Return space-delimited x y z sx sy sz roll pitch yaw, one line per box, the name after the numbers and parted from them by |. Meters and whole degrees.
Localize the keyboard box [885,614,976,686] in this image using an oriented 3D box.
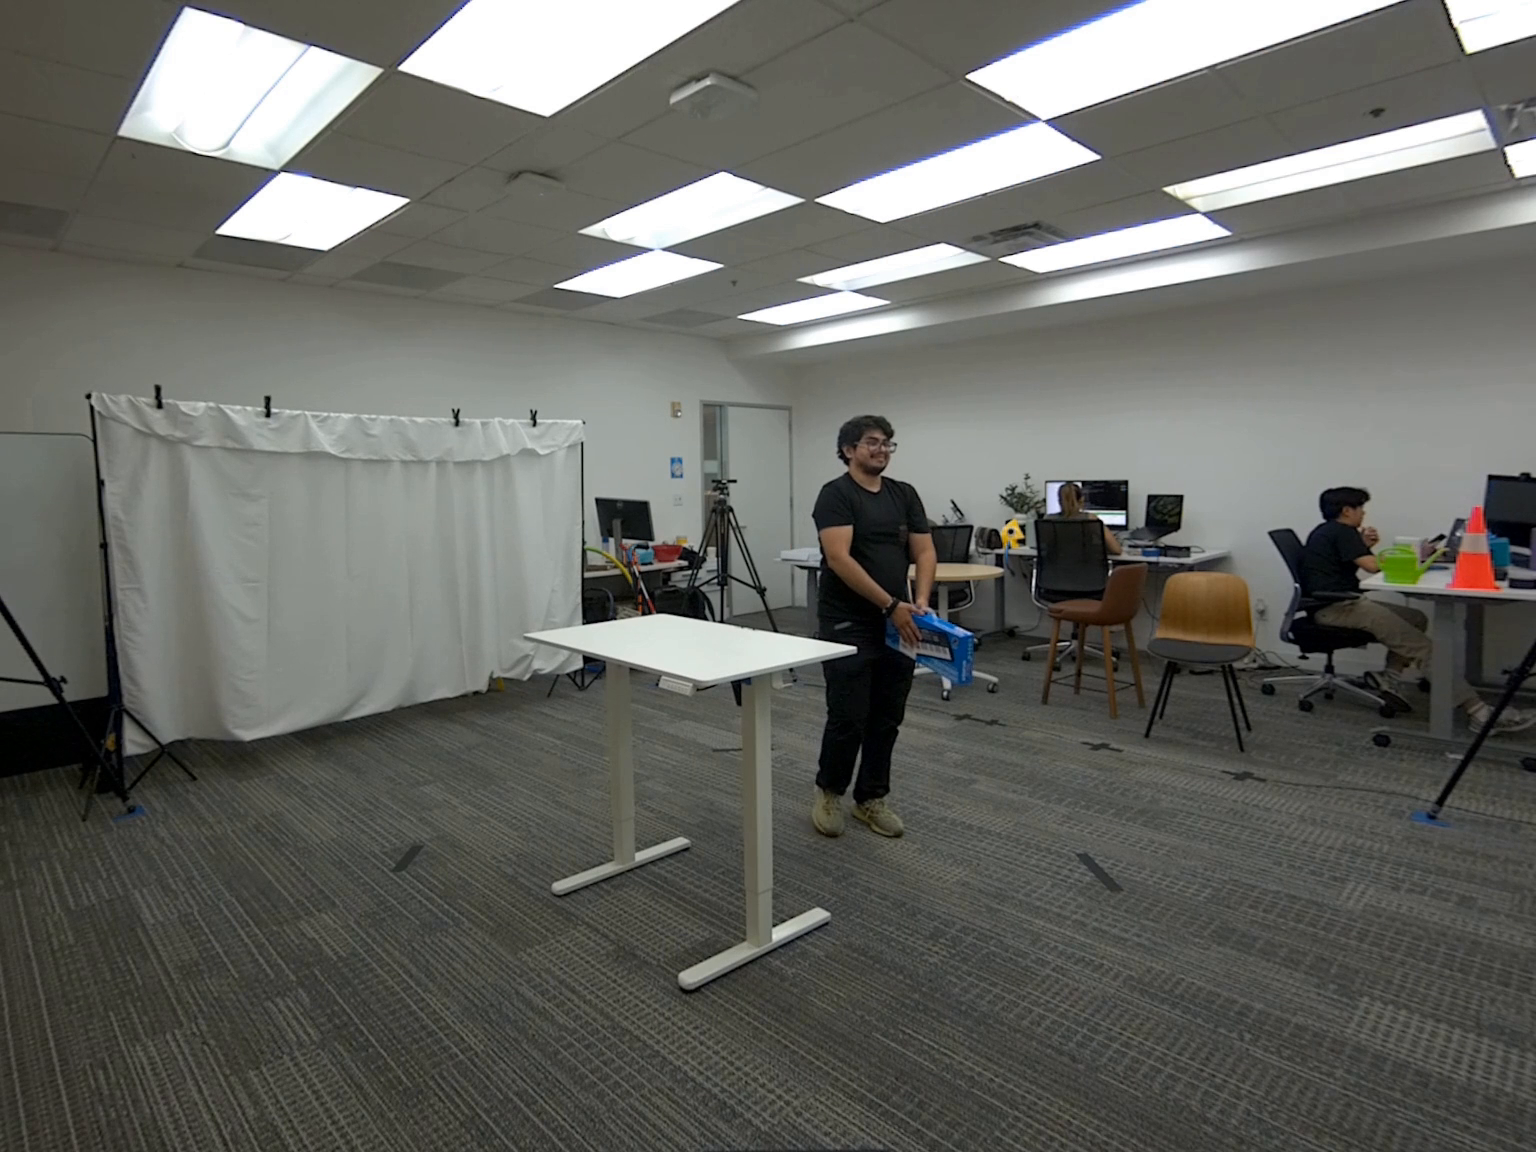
0.565 0.229 3.056 0.058 0.174 0.450 -6 15 -25 | keyboard box
